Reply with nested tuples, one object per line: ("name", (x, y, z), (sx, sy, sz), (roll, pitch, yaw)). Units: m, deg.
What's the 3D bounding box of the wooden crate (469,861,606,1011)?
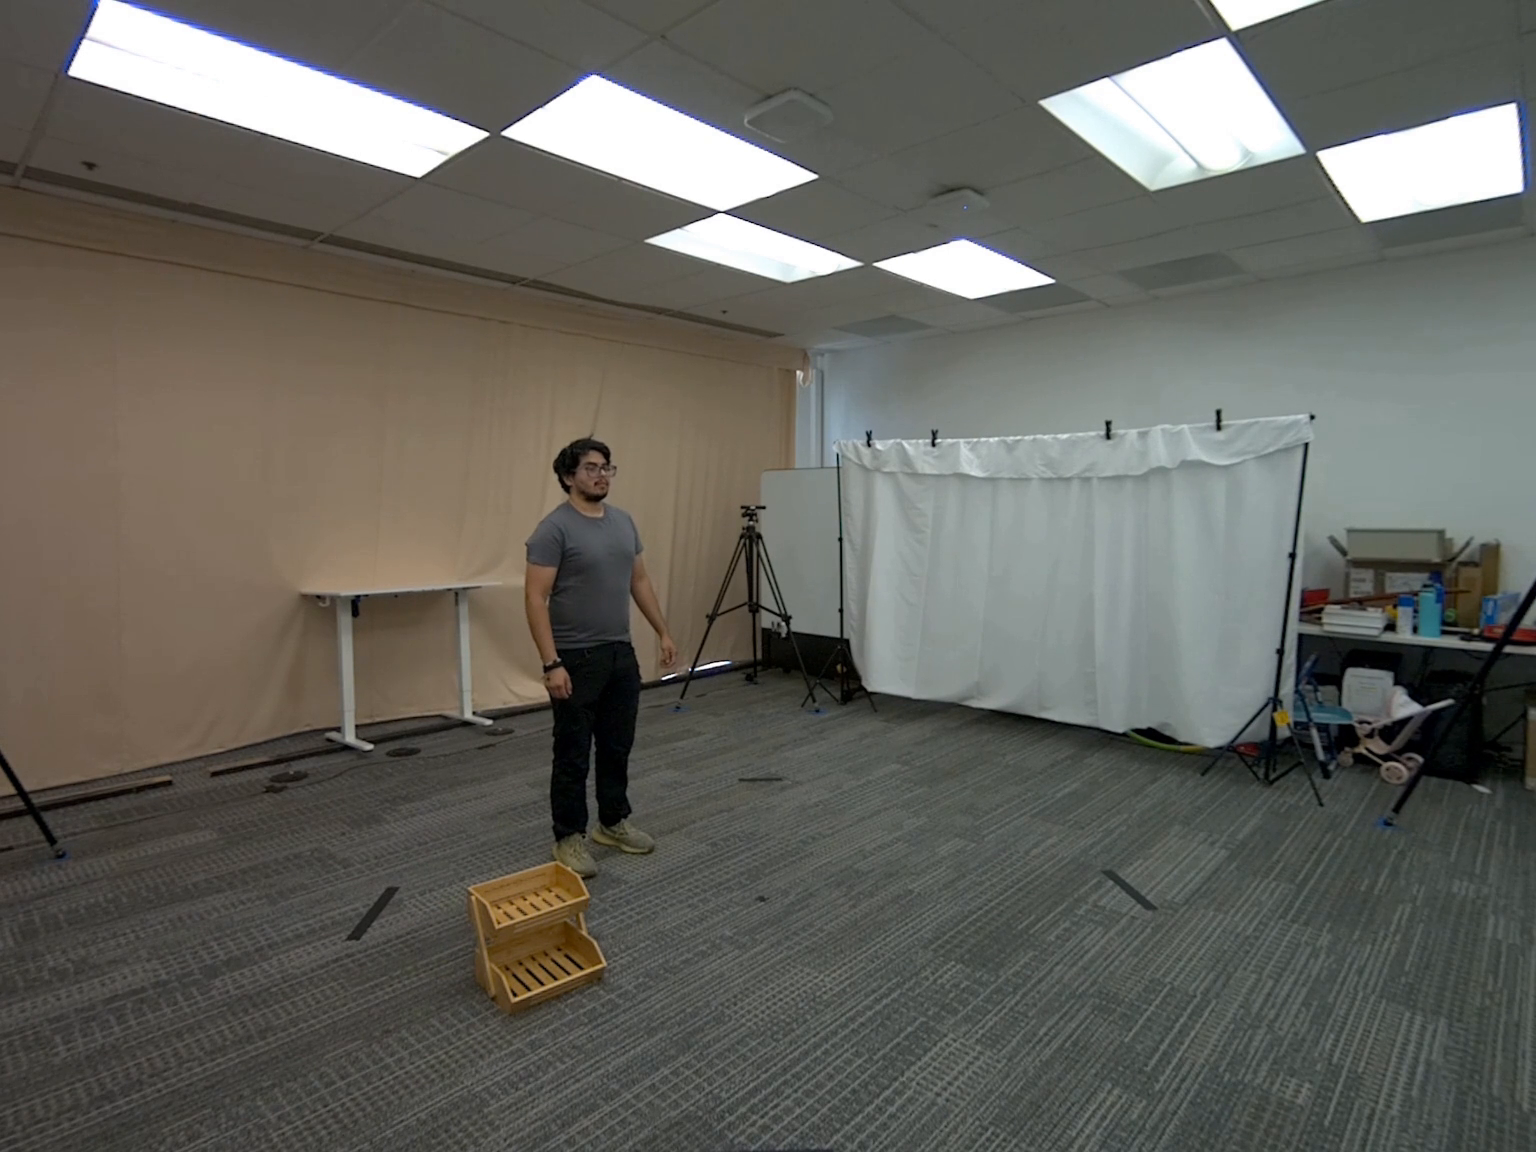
("wooden crate", (-0.684, 1.062, 2.482), (0.314, 0.273, 0.312), (-4, 5, -41))
